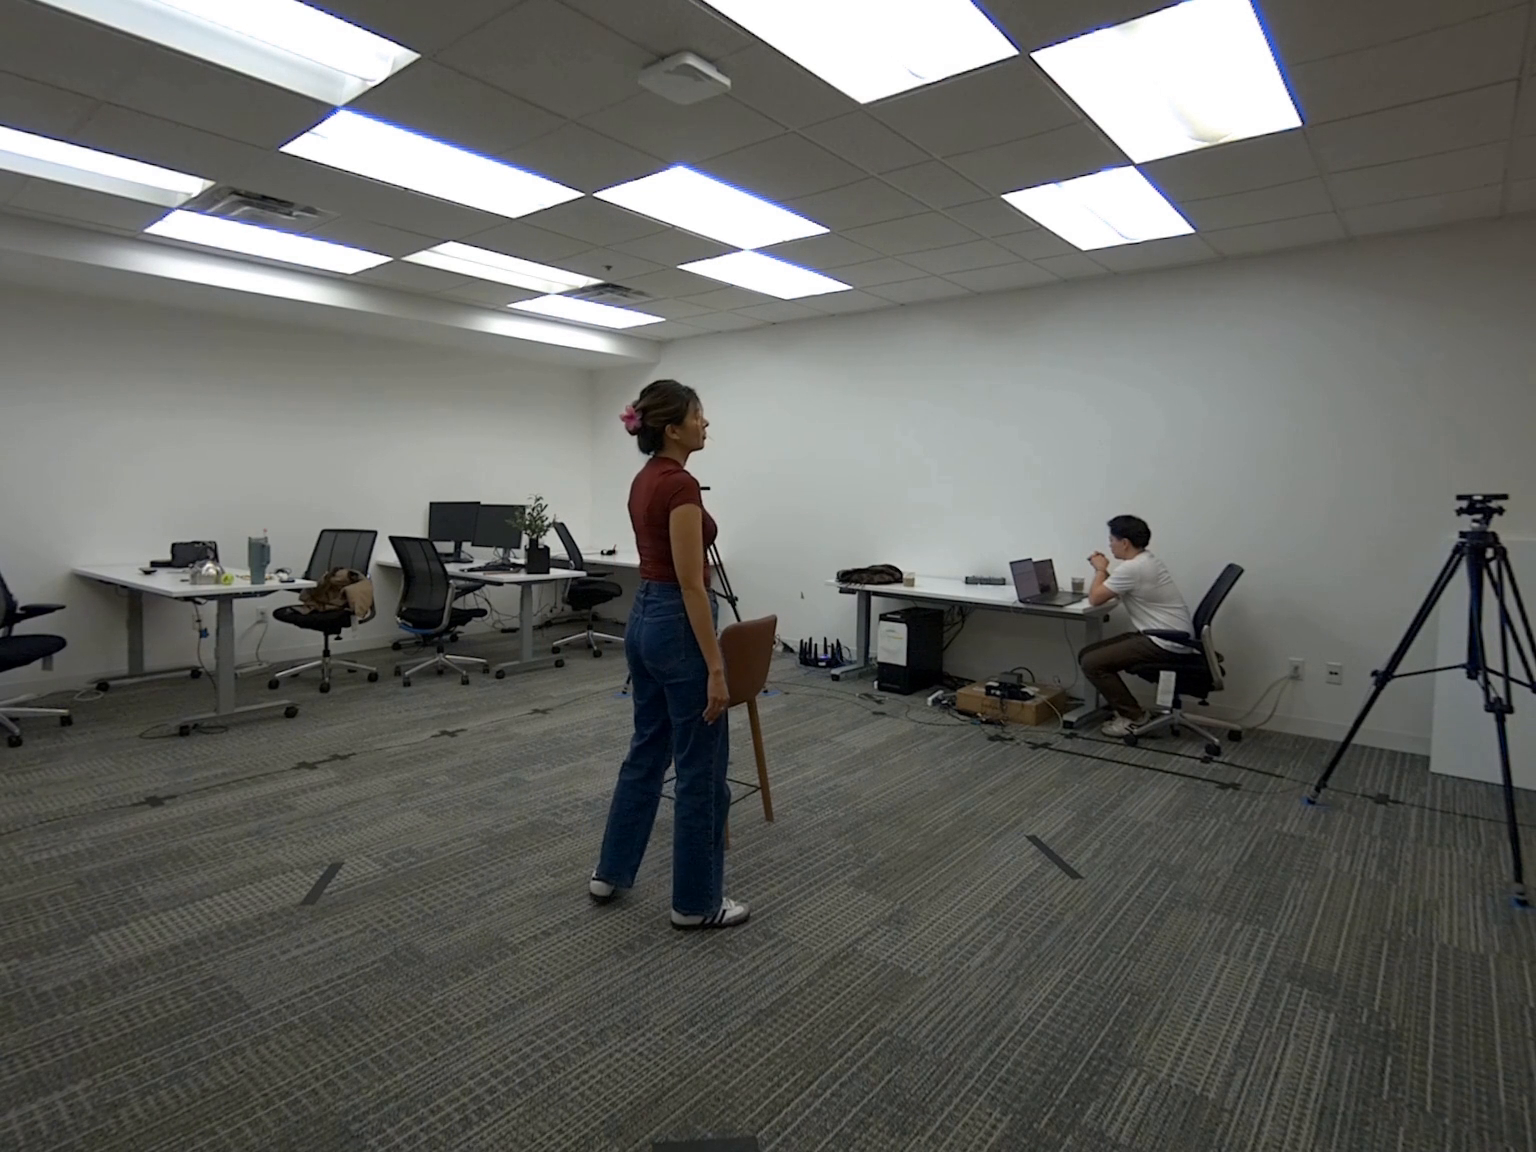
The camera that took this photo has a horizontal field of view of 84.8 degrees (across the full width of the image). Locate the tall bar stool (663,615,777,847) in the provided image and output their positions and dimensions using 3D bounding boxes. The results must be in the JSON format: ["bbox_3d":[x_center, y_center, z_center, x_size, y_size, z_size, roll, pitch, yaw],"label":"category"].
[{"bbox_3d":[-0.258,0.593,3.521,0.482,0.886,0.444,5,5,32],"label":"tall bar stool"}]
